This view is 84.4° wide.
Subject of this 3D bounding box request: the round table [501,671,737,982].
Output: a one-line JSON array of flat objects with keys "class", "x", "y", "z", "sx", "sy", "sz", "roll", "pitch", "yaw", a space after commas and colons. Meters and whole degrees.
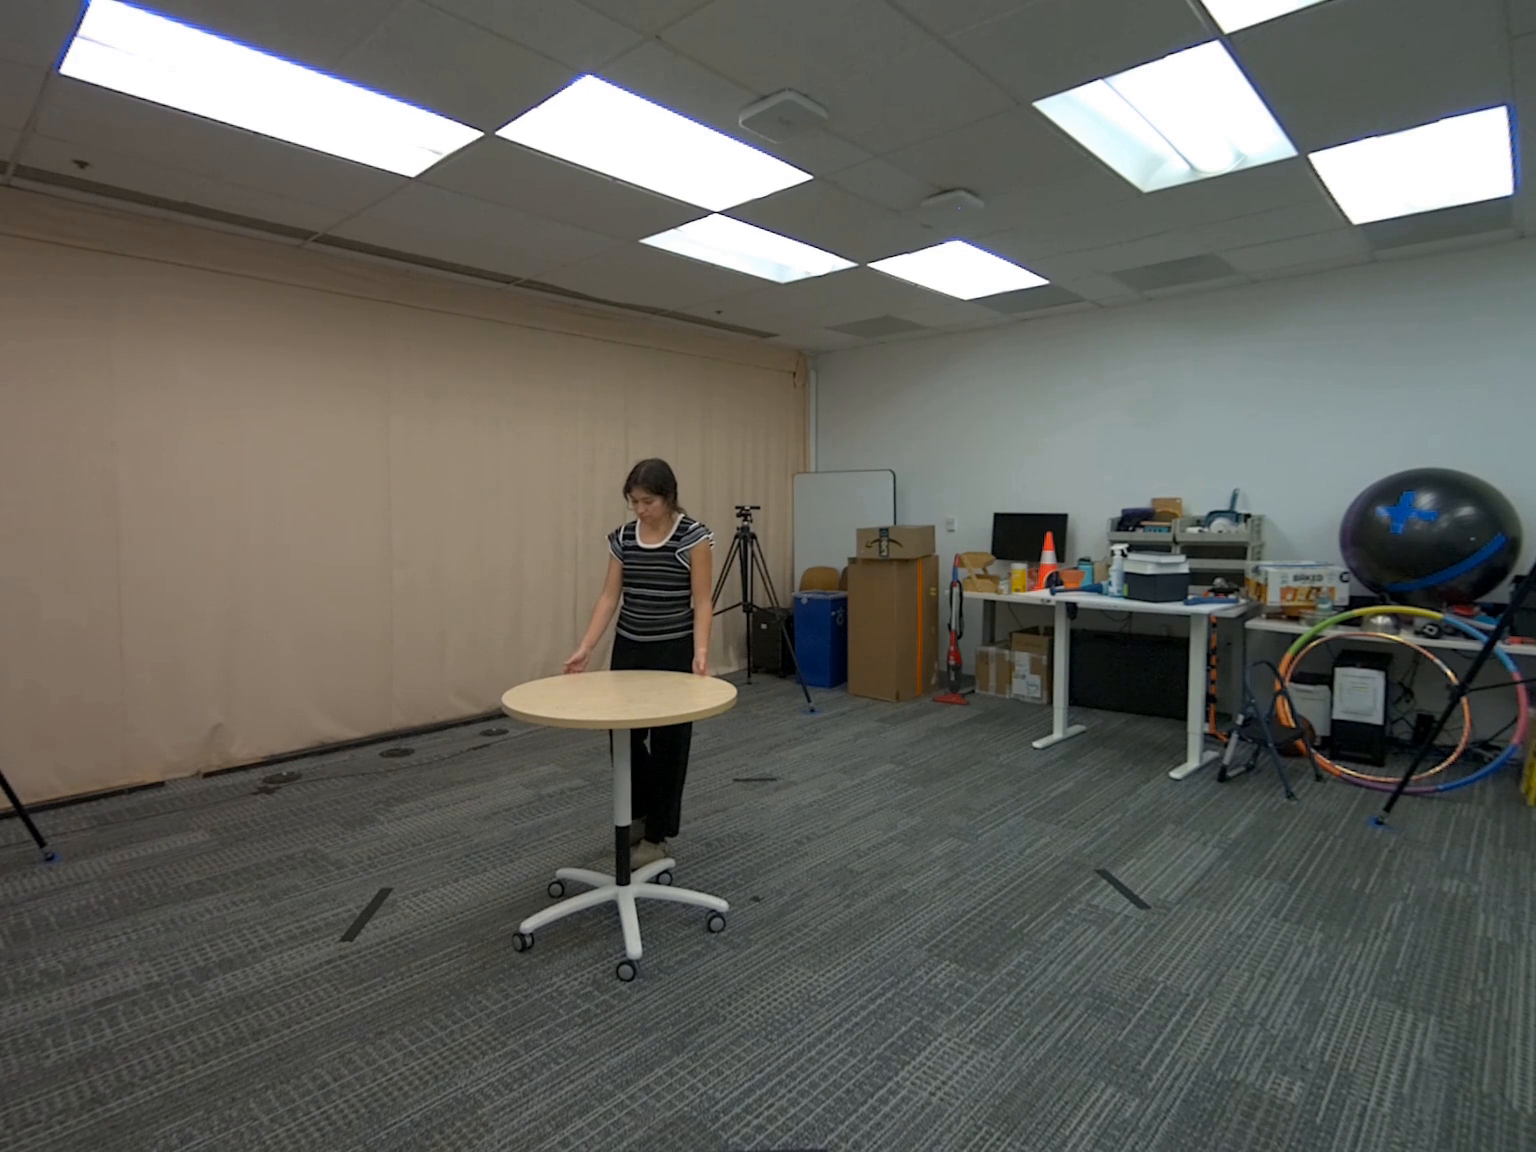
[{"class": "round table", "x": -0.481, "y": 0.772, "z": 2.785, "sx": 0.763, "sy": 0.792, "sz": 0.766, "roll": 0, "pitch": 3, "yaw": -2}]
